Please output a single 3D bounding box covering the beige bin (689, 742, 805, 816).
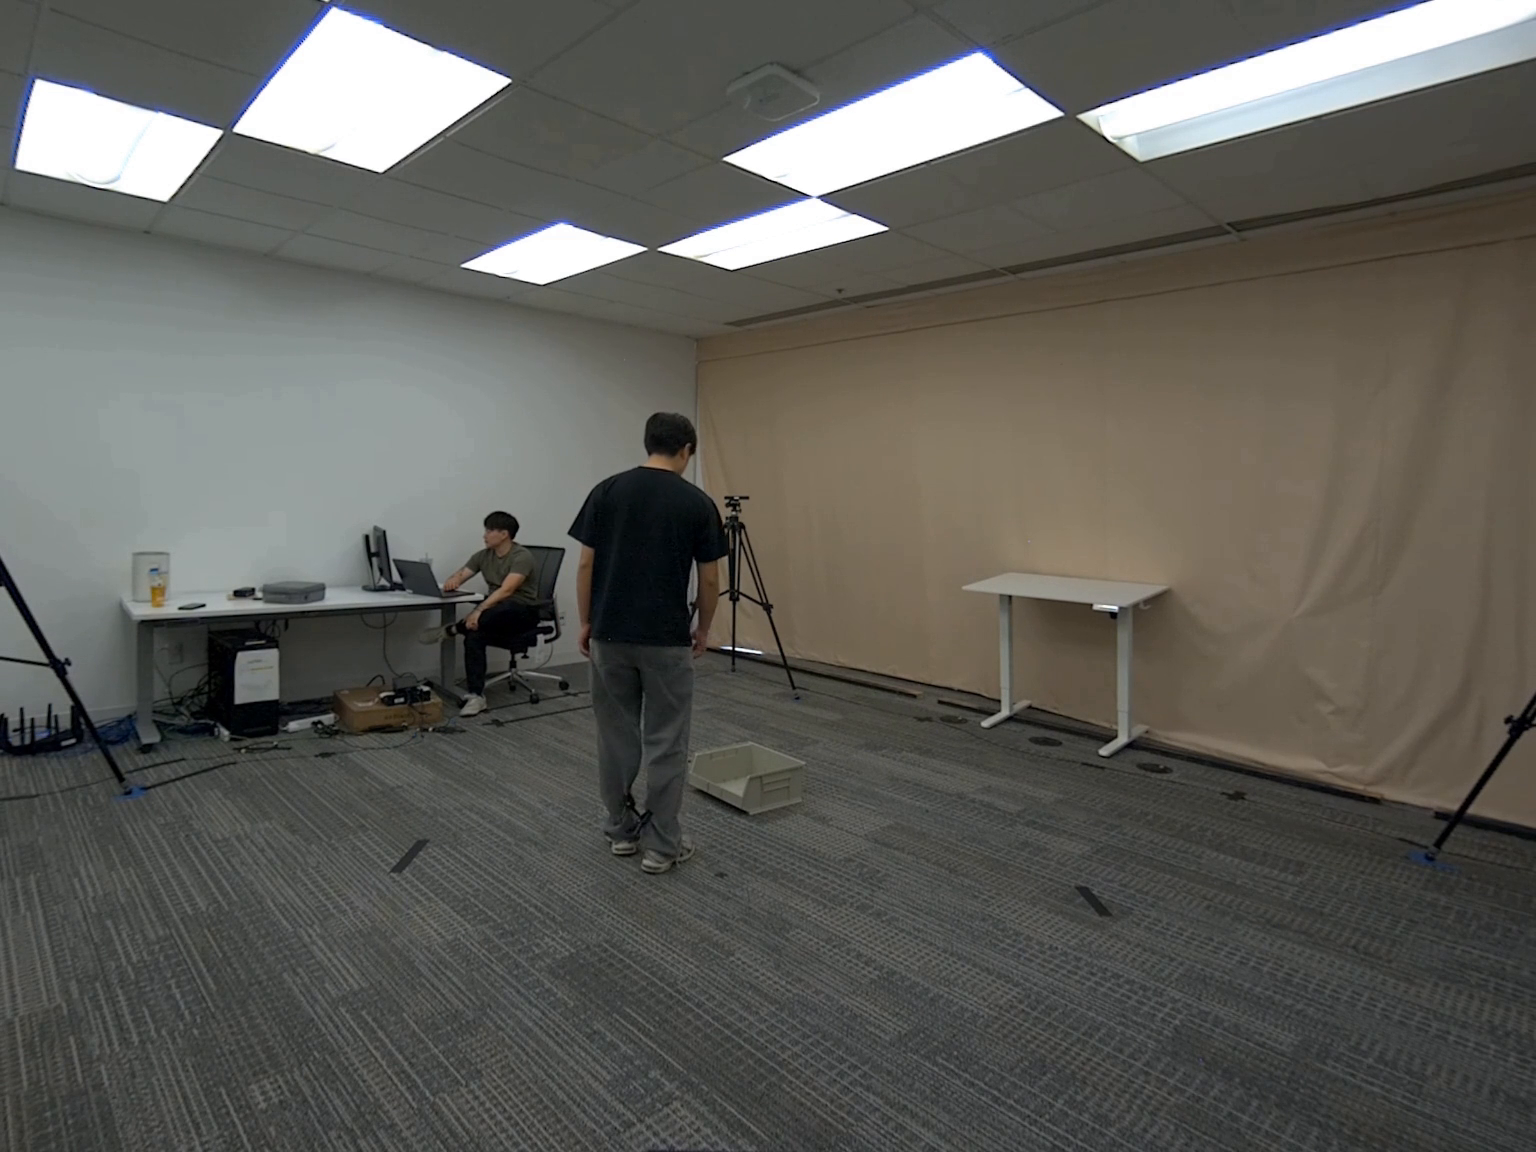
[{"bbox_3d":[-0.110,0.943,3.948,0.369,0.188,0.433,-1,4,-39],"label":"beige bin"}]
